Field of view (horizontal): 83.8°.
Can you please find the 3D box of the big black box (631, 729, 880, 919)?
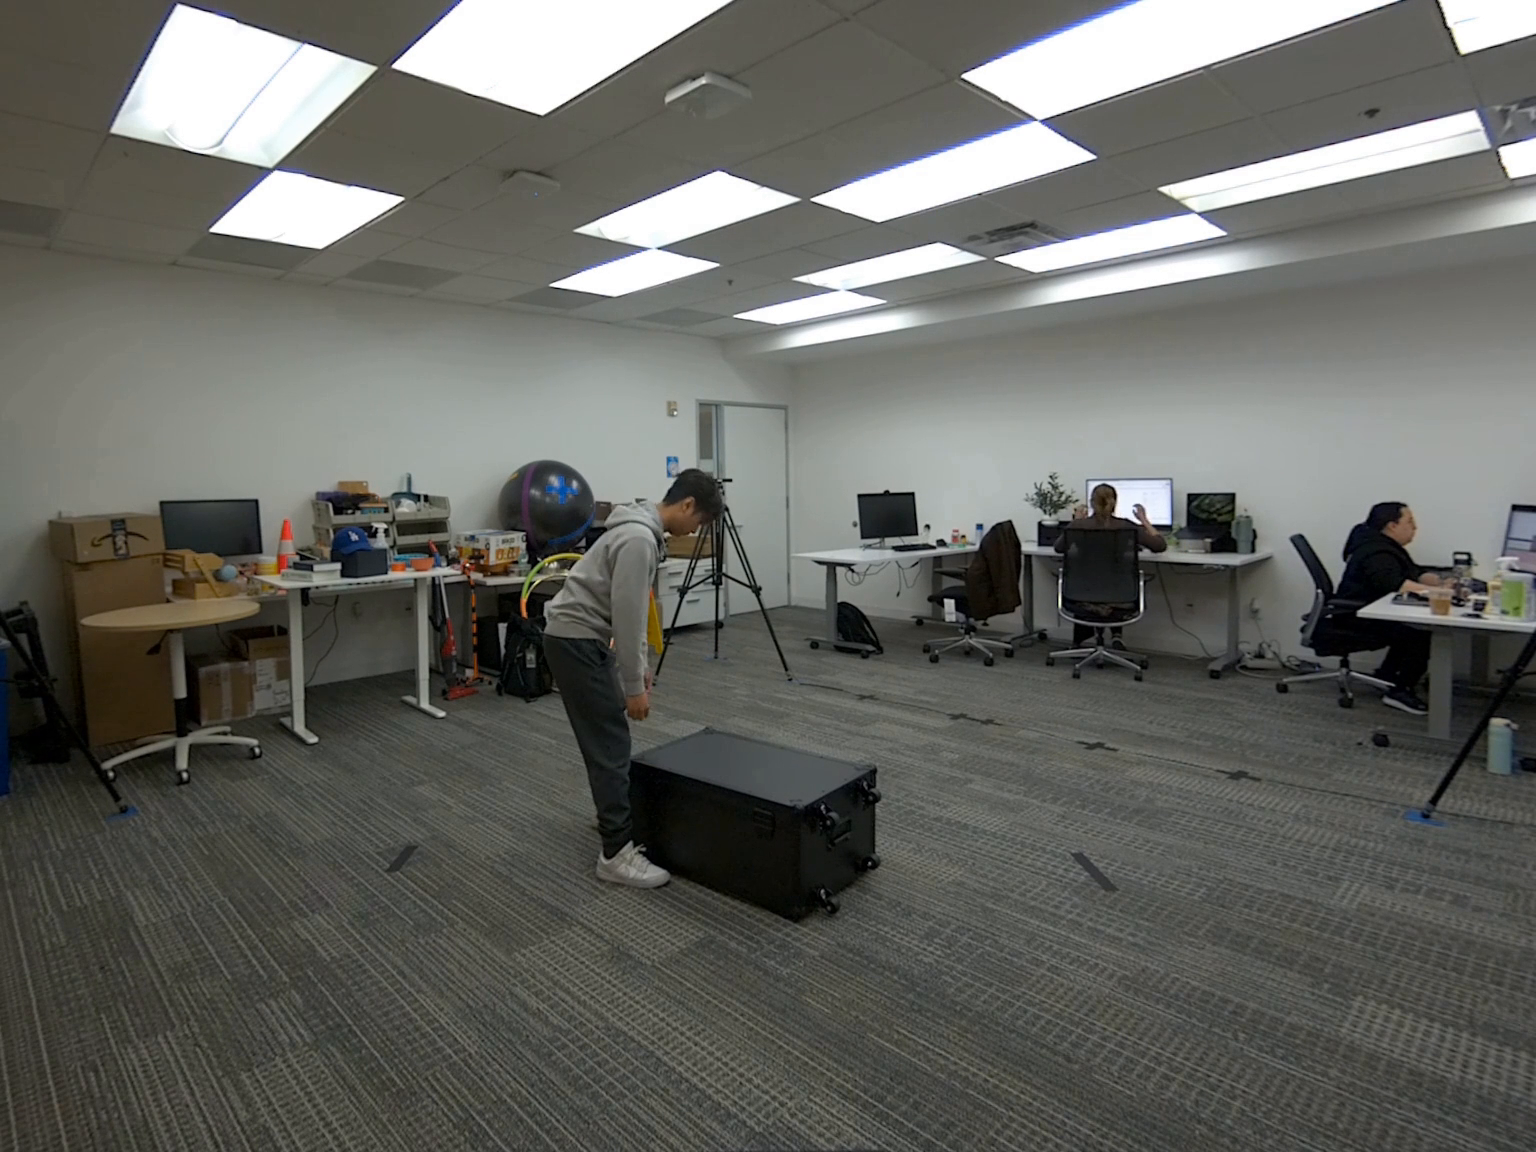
[{"bbox_3d":[-0.045,0.860,3.064,0.887,0.395,0.508,3,7,38],"label":"big black box"}]
